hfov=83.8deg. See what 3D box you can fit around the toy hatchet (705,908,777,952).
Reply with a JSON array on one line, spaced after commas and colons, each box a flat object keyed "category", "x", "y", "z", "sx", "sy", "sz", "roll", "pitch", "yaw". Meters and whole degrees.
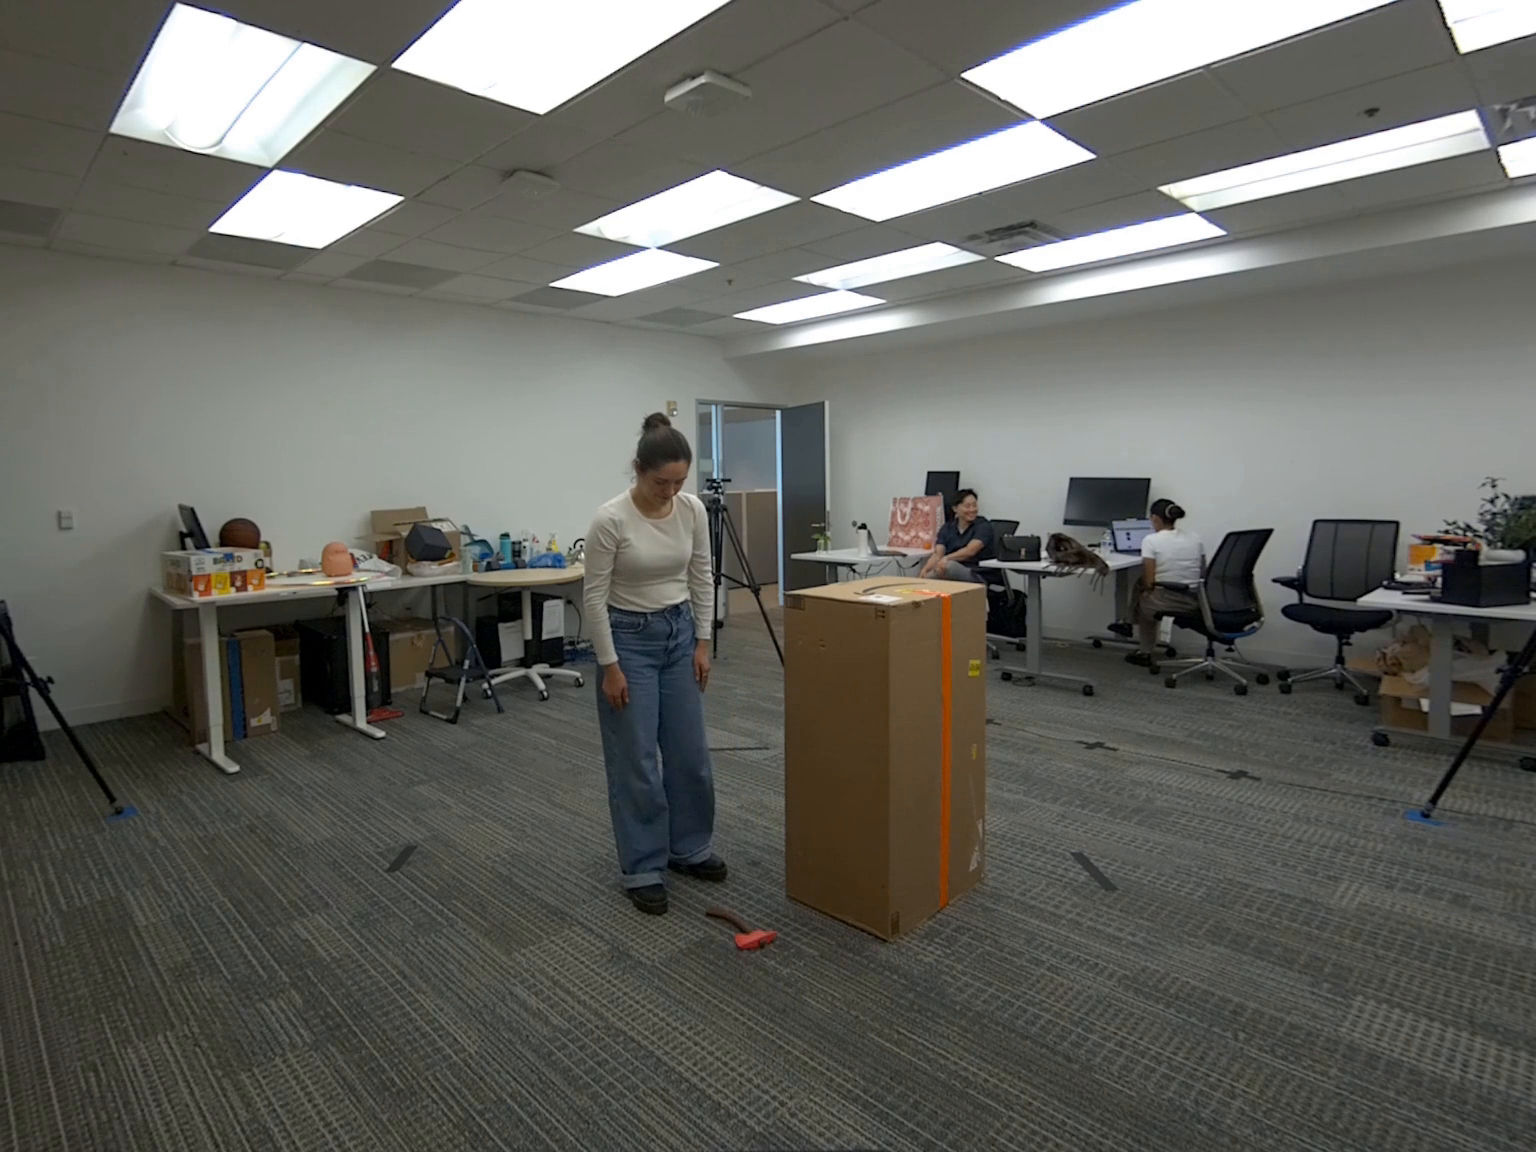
[{"category": "toy hatchet", "x": -0.107, "y": 1.089, "z": 2.631, "sx": 0.278, "sy": 0.029, "sz": 0.128, "roll": 2, "pitch": 9, "yaw": 40}]
